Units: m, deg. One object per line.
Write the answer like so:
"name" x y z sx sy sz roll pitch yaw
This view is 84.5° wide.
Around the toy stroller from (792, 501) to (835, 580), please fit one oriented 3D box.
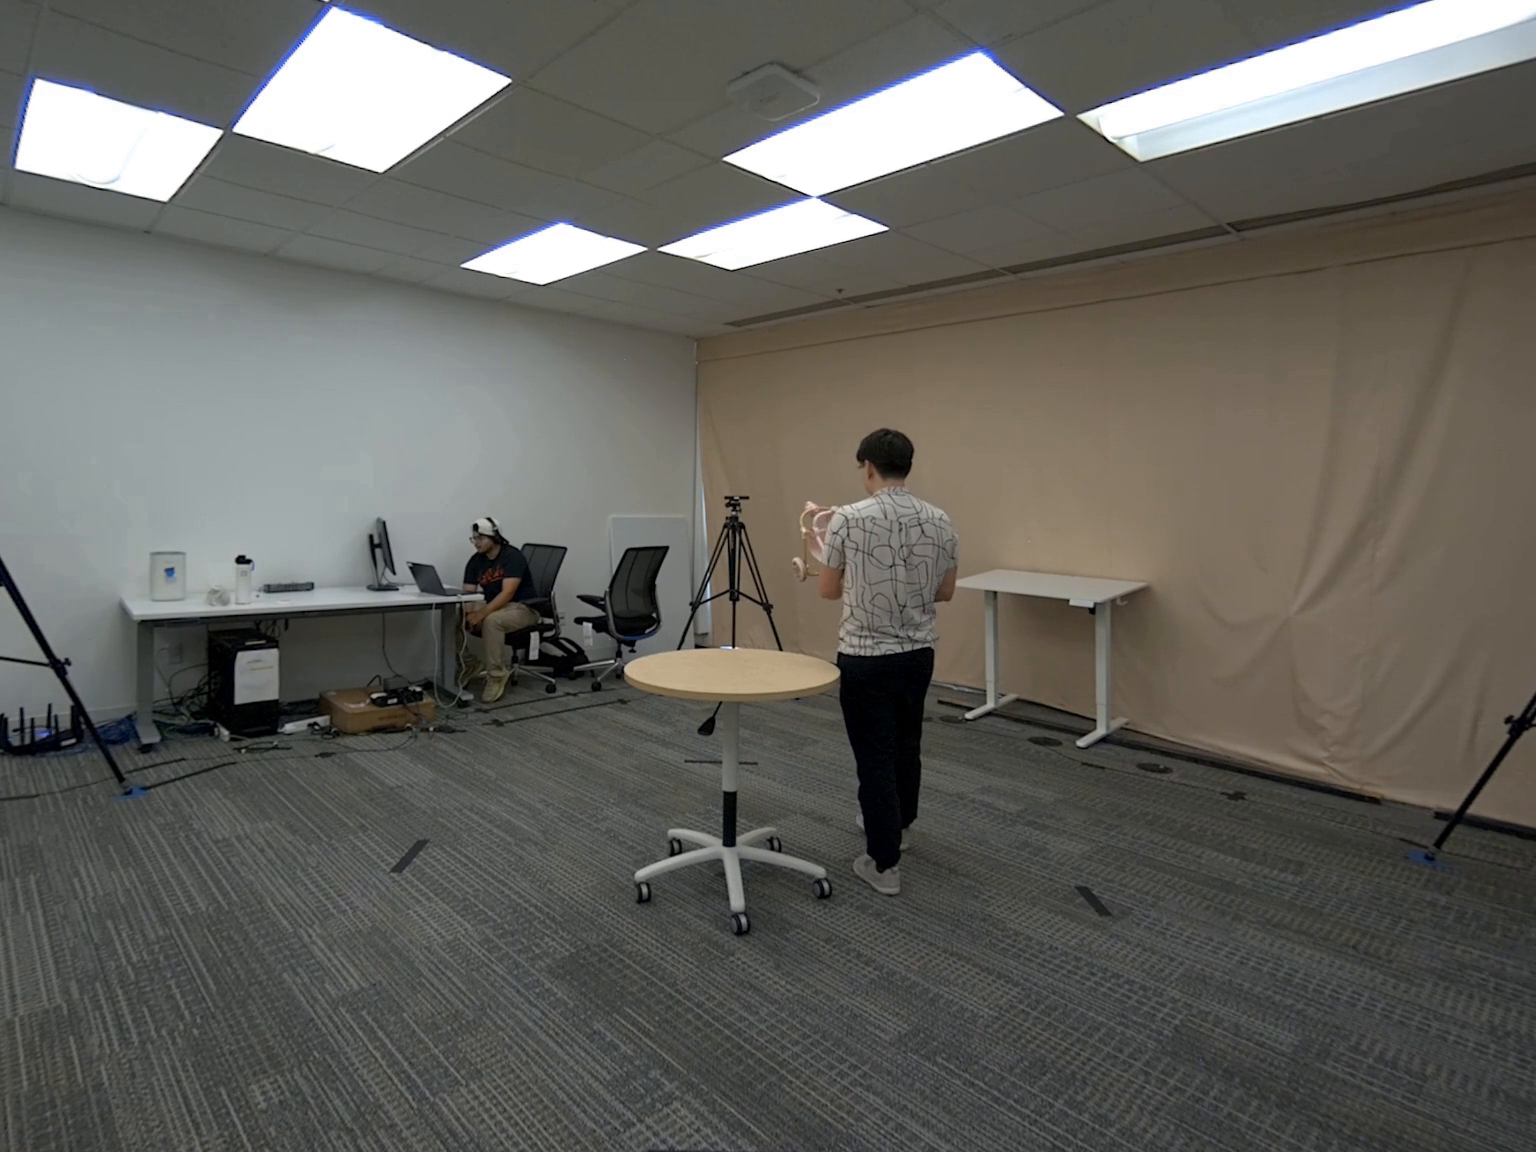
"toy stroller" 0.294 -0.124 3.595 0.278 0.338 0.547 -8 14 -20
